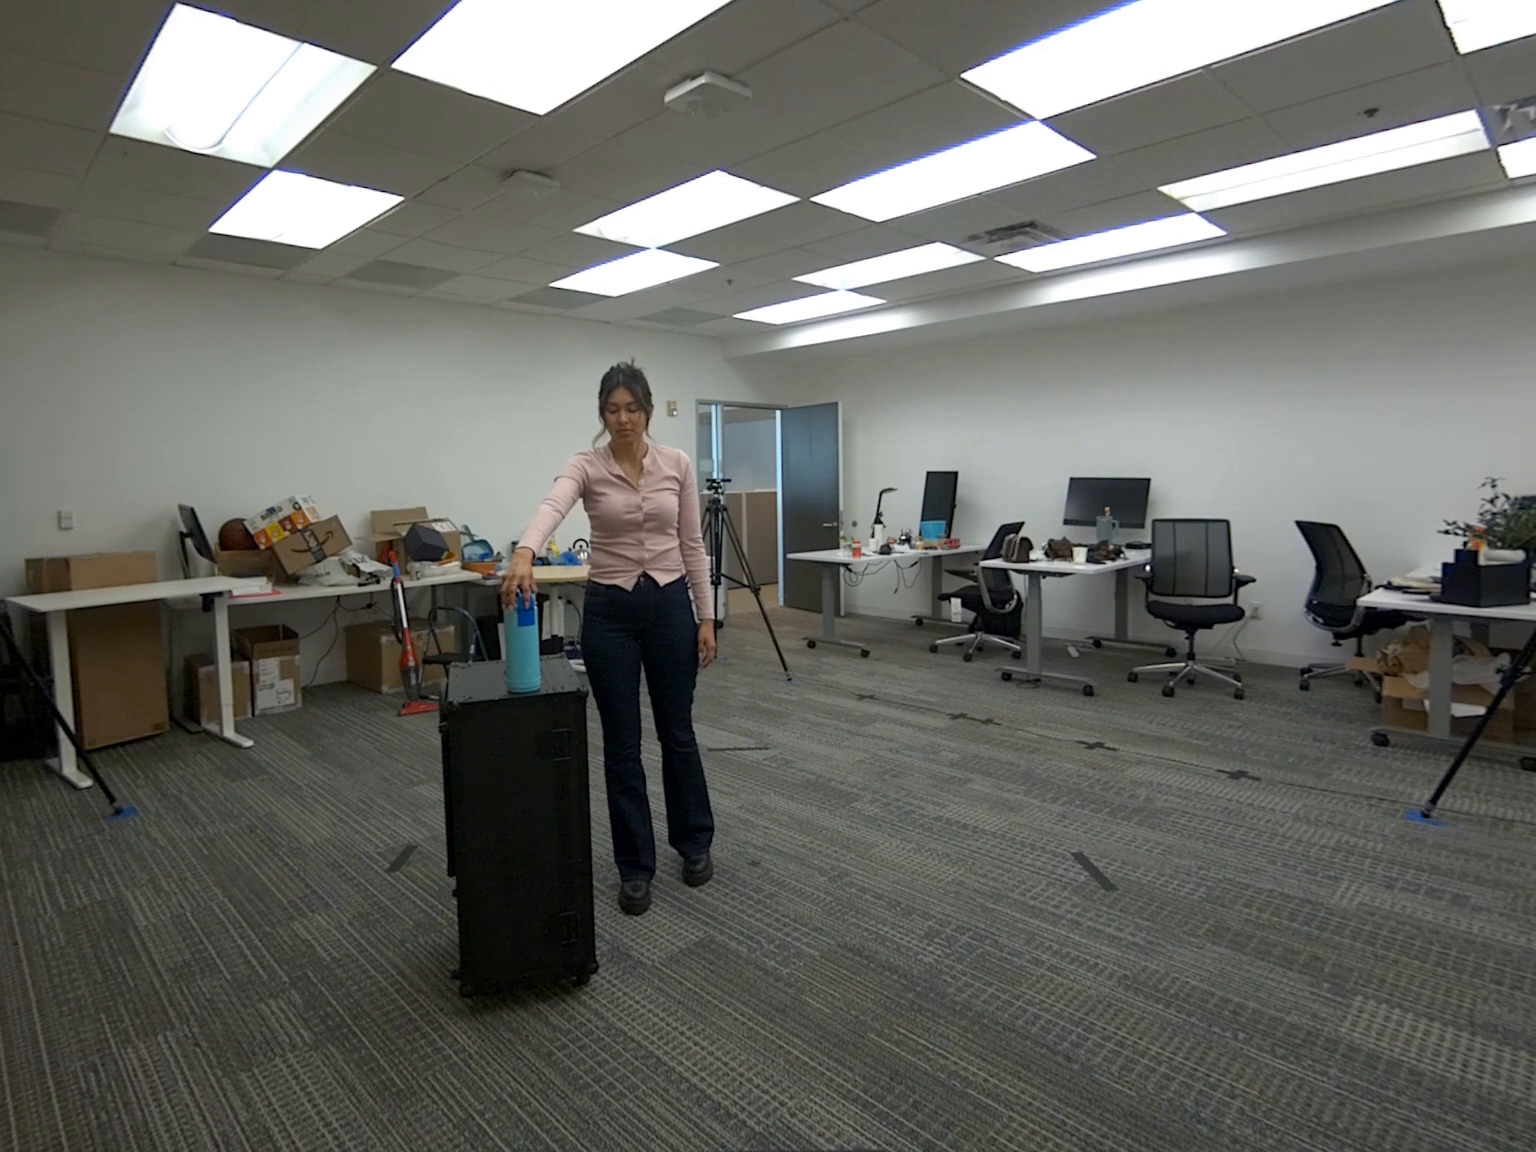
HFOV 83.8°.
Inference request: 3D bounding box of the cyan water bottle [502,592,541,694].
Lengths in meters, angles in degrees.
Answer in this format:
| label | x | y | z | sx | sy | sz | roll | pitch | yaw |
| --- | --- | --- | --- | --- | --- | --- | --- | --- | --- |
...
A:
| label | x | y | z | sx | sy | sz | roll | pitch | yaw |
| --- | --- | --- | --- | --- | --- | --- | --- | --- | --- |
| cyan water bottle | -0.663 | 0.165 | 2.285 | 0.092 | 0.282 | 0.093 | 0 | 5 | -2 |
